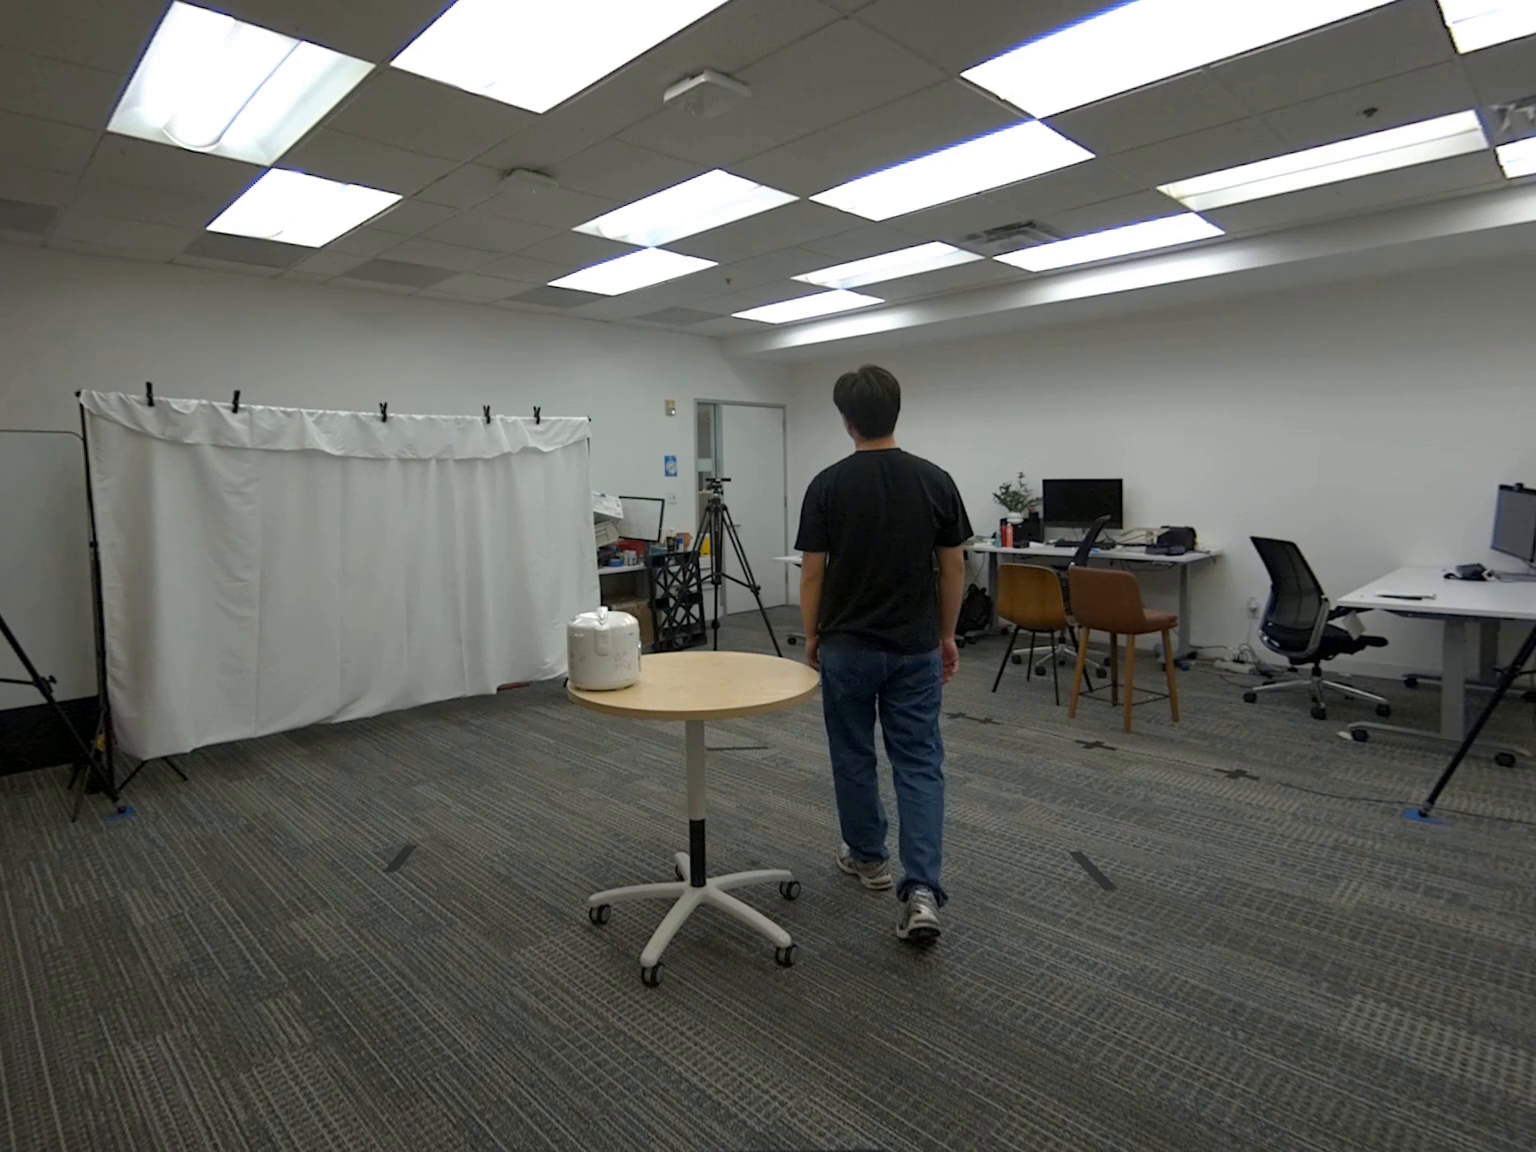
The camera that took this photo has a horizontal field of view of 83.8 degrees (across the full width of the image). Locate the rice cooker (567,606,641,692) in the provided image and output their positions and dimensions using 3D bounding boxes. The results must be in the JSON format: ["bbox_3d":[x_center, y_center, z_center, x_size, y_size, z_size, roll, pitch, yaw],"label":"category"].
[{"bbox_3d":[-0.482,0.206,2.528,0.216,0.231,0.223,-3,6,-8],"label":"rice cooker"}]
